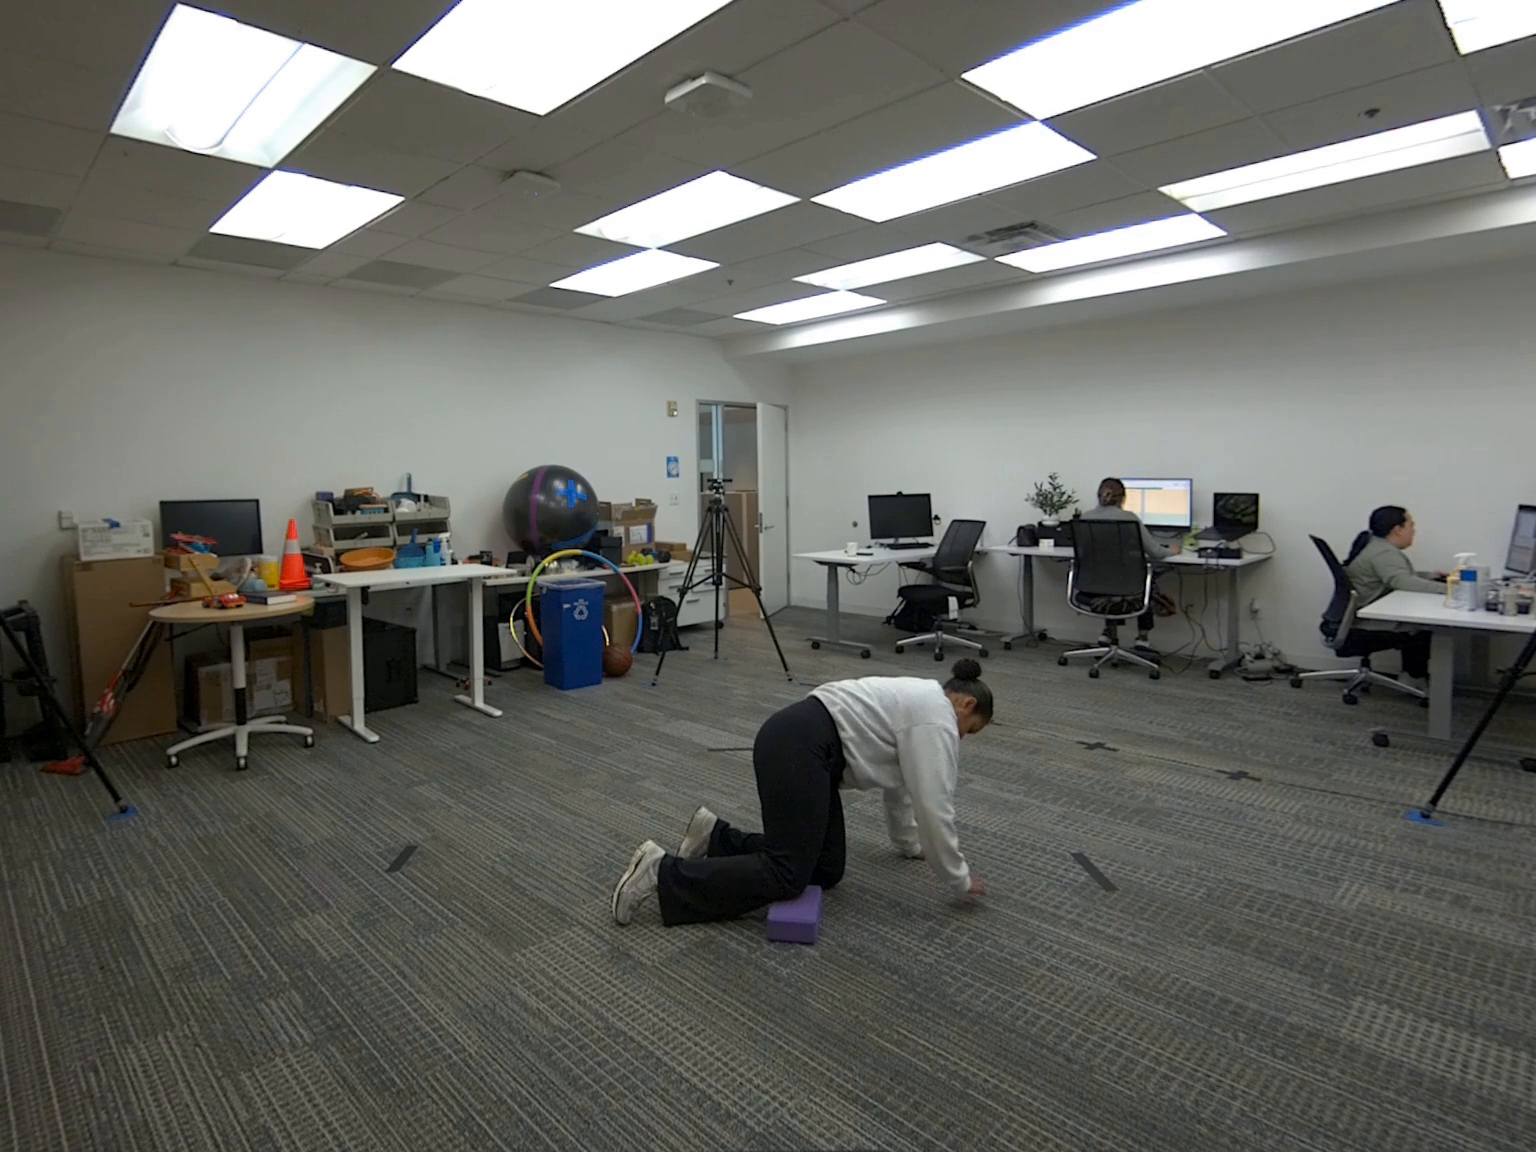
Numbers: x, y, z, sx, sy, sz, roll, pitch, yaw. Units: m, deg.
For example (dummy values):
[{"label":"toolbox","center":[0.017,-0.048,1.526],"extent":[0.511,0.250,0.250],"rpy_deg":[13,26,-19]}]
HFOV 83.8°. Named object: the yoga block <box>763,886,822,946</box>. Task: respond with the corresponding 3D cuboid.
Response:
[{"label":"yoga block","center":[0.078,1.055,2.677],"extent":[0.151,0.076,0.228],"rpy_deg":[-1,6,10]}]
